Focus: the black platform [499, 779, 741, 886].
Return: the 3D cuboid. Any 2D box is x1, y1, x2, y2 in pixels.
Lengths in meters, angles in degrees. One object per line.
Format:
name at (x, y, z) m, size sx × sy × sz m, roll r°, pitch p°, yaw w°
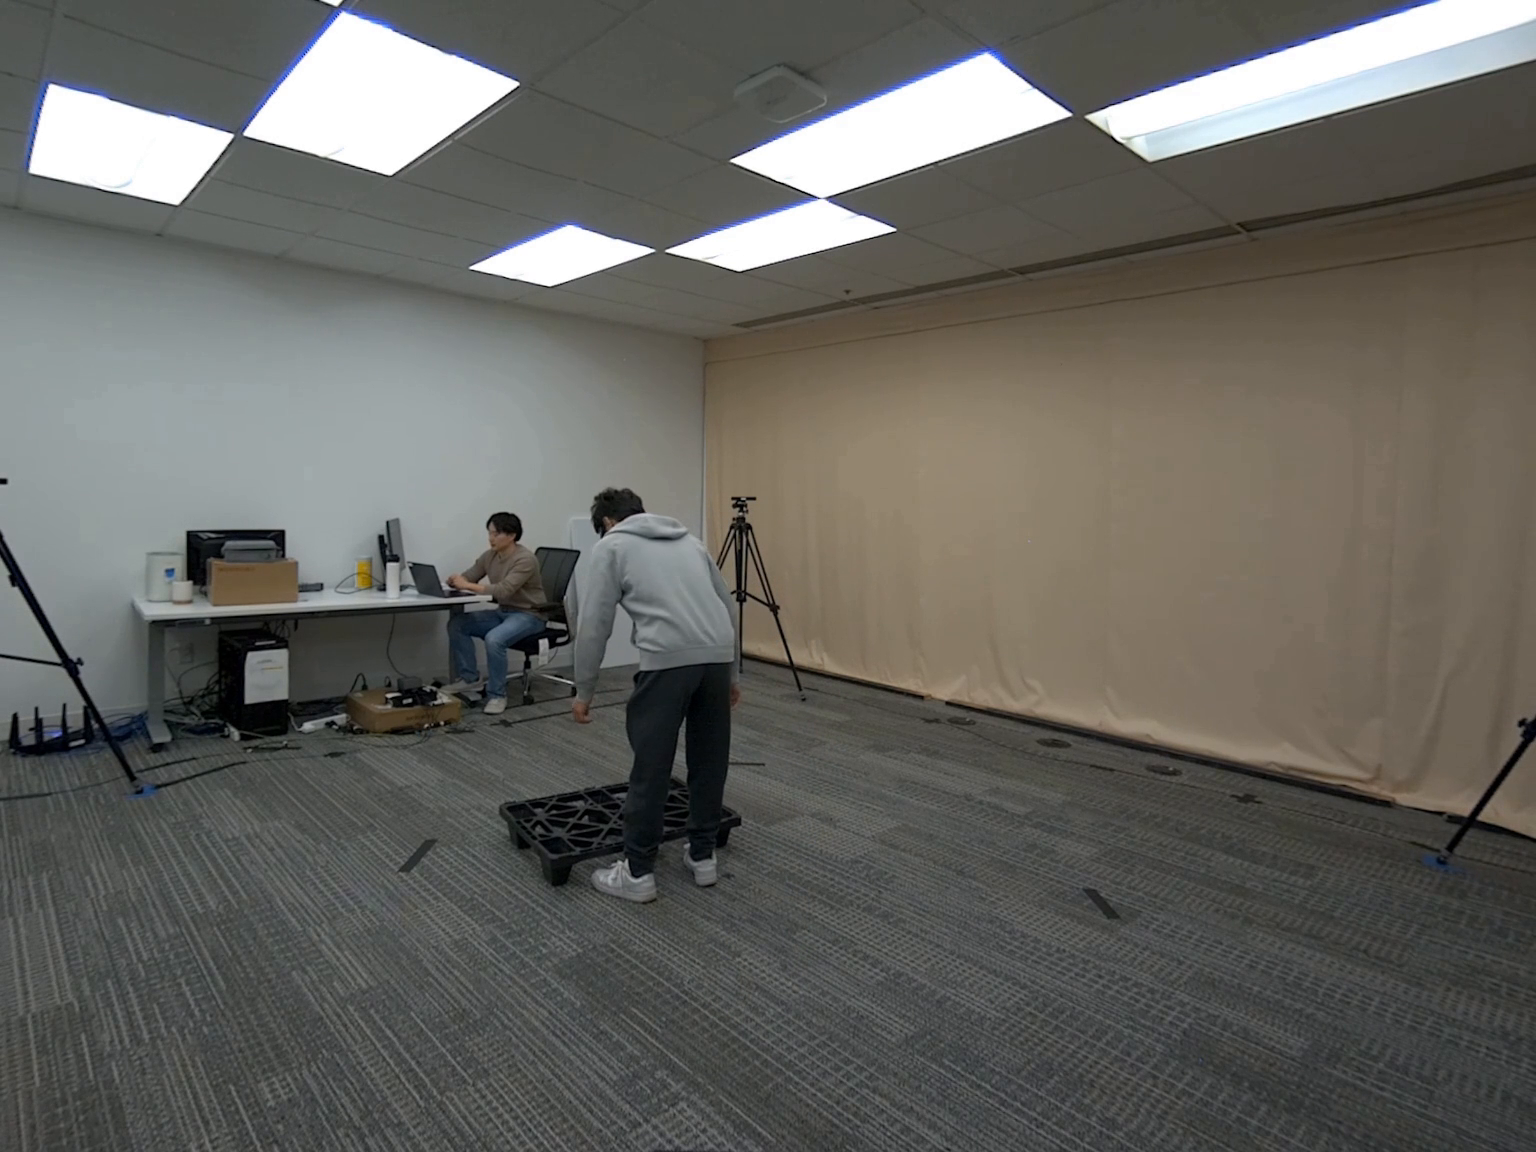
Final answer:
black platform at (-0.600, 1.007, 3.377) m, size 0.788 × 0.143 × 0.620 m, roll -2°, pitch 7°, yaw -34°
